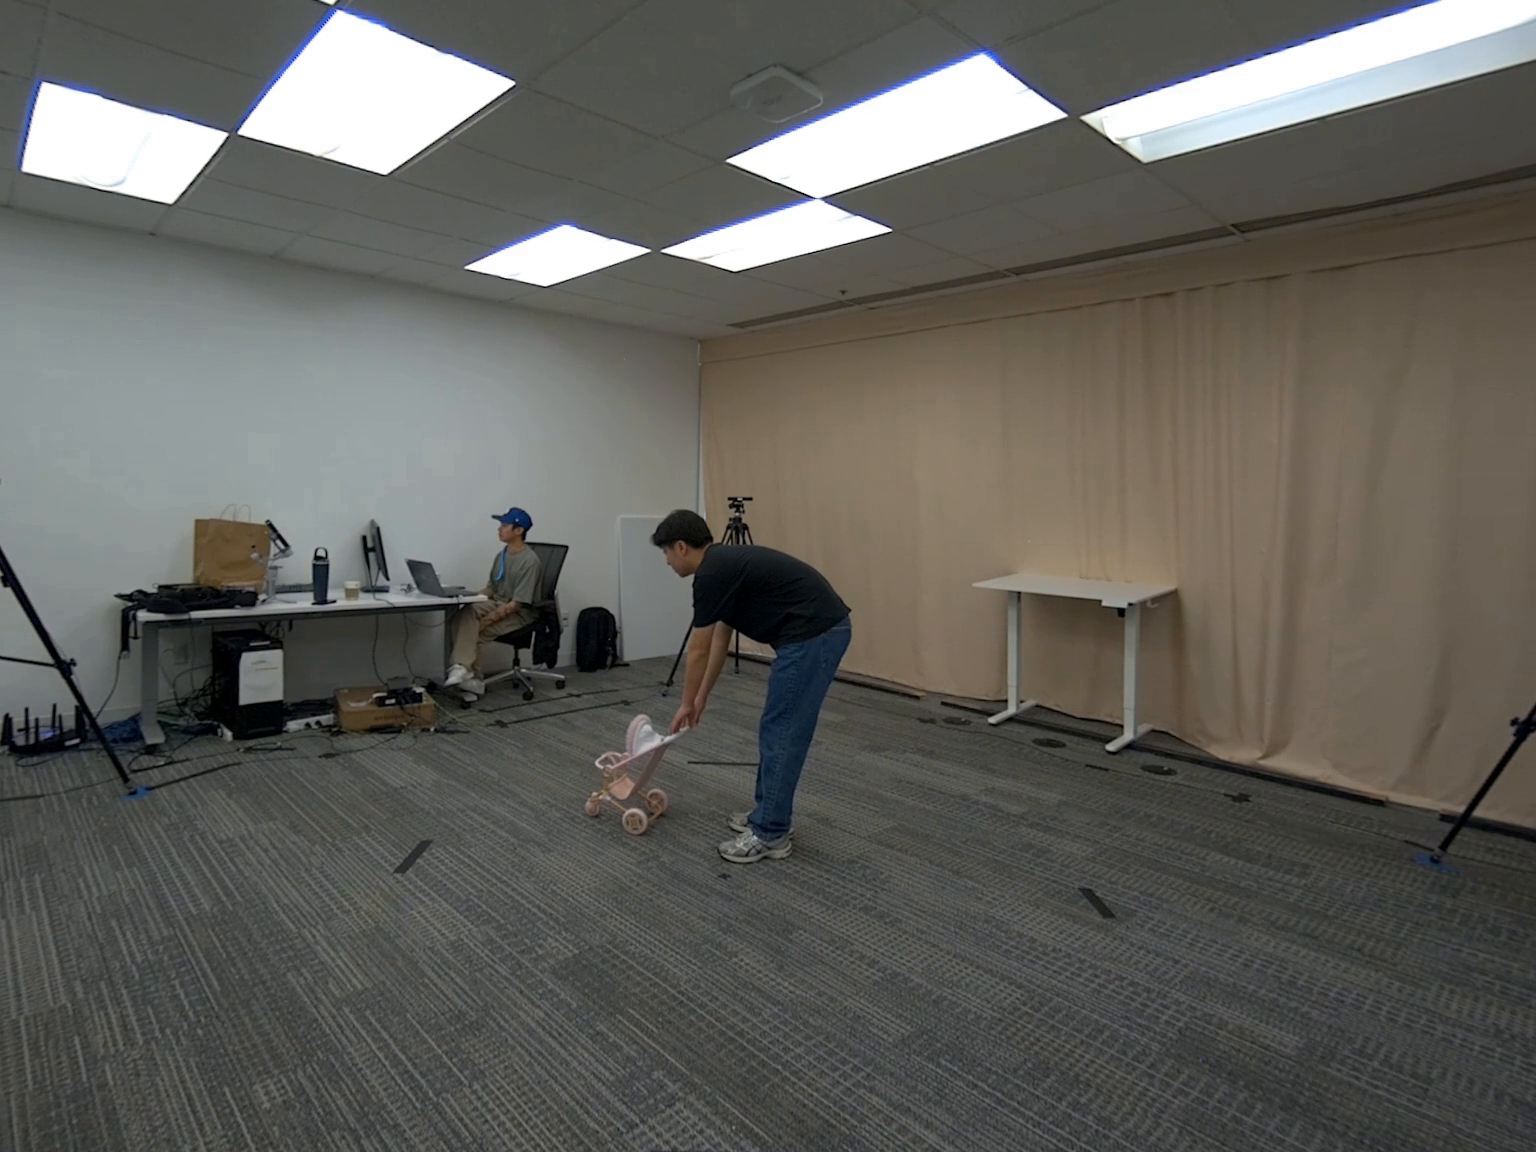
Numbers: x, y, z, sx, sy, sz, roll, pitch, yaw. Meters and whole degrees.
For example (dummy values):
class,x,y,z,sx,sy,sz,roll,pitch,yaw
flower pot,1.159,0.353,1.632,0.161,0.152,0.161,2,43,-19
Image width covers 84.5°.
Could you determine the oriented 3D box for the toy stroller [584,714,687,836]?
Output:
class,x,y,z,sx,sy,sz,roll,pitch,yaw
toy stroller,-0.581,0.835,3.593,0.348,0.533,0.277,20,8,19
